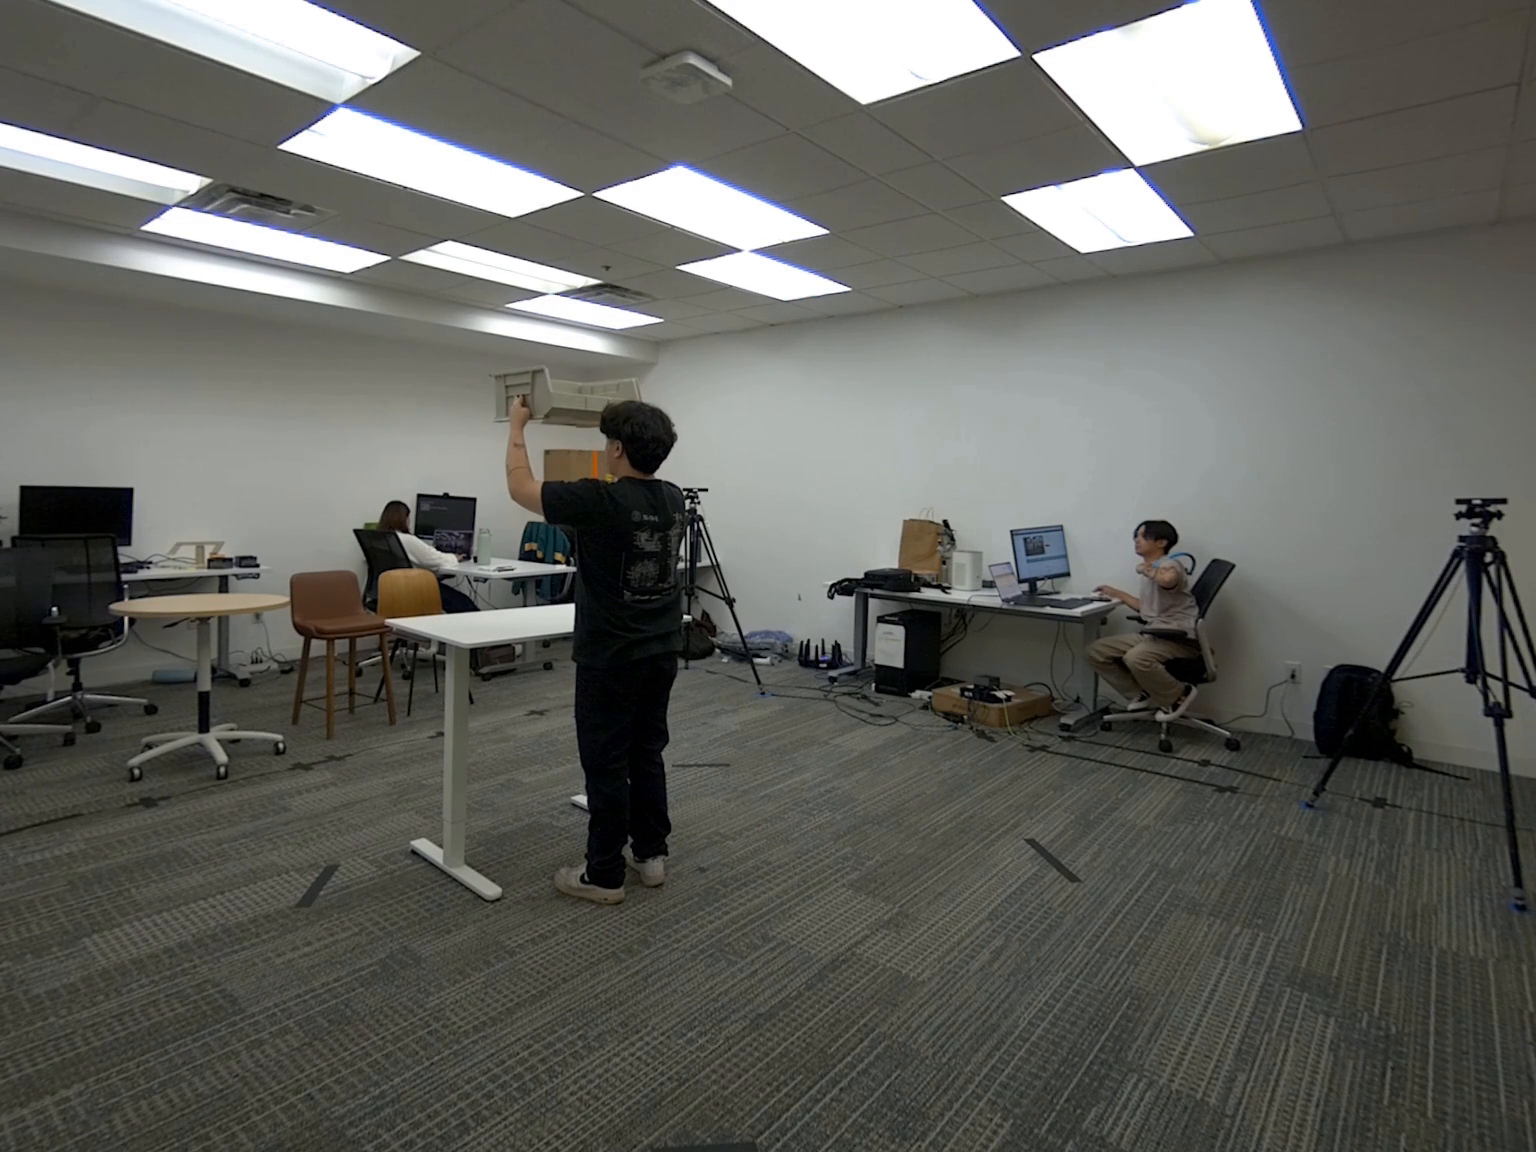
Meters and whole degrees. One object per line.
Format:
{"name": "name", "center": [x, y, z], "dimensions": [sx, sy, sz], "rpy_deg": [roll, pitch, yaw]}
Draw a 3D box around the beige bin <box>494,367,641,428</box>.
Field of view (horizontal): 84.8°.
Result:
{"name": "beige bin", "center": [-0.758, -0.655, 3.149], "dimensions": [0.390, 0.188, 0.410], "rpy_deg": [5, 8, 41]}
